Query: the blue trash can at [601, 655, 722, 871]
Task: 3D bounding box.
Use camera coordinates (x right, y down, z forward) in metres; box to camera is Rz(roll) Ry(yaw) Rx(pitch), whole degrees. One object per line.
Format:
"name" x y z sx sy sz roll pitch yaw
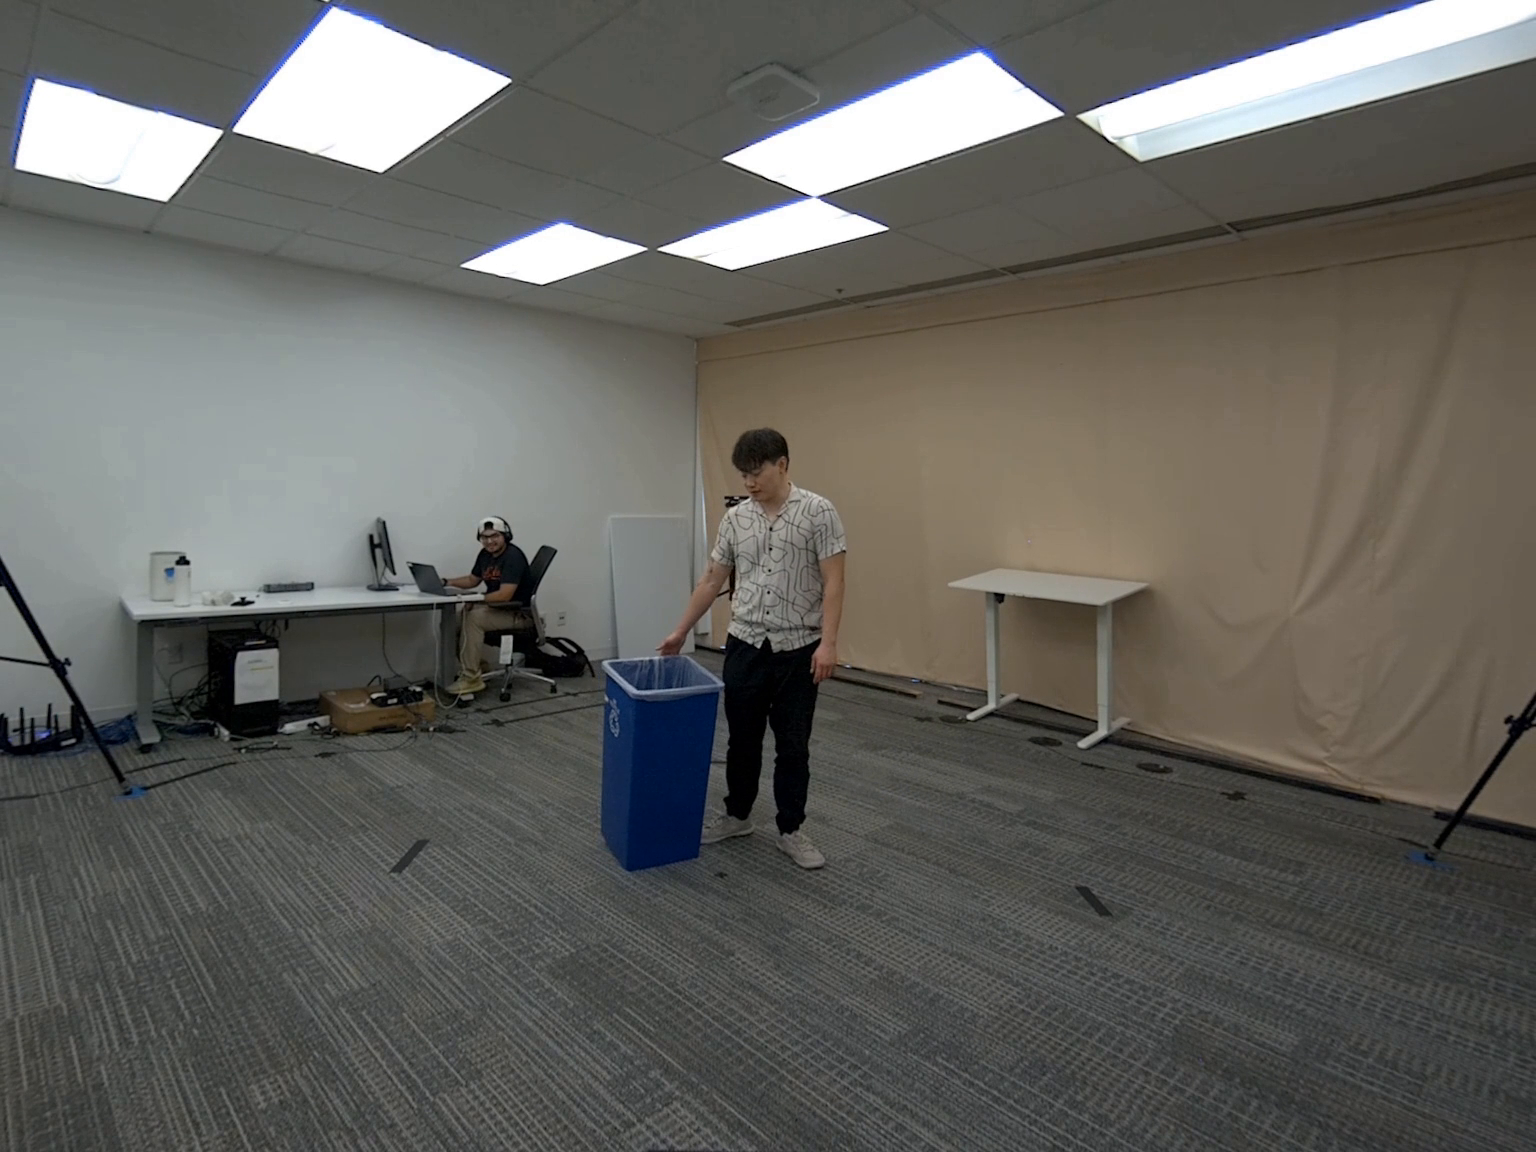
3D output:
"blue trash can" -0.434 0.714 3.236 0.370 0.709 0.384 -1 12 -30
